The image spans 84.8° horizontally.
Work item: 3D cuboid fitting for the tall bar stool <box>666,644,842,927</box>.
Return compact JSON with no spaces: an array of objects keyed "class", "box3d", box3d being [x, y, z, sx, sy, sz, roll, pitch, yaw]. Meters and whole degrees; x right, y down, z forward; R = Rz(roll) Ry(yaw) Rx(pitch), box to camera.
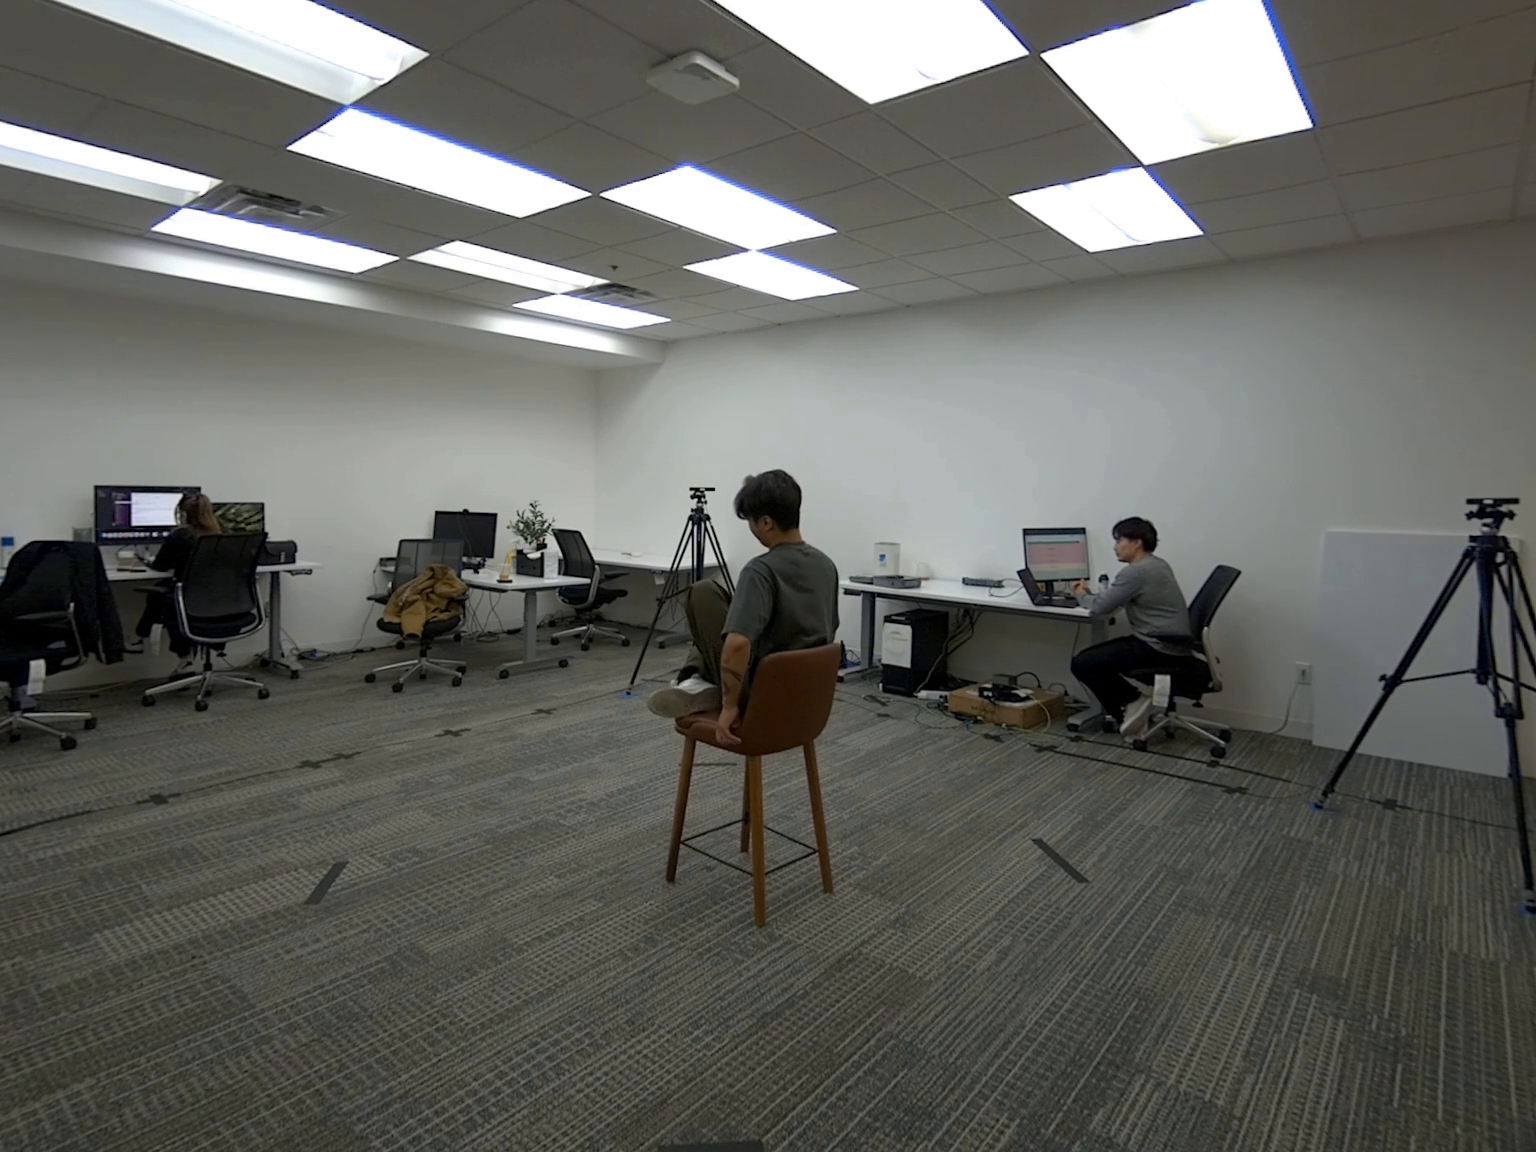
[{"class":"tall bar stool","box3d":[-0.053,0.650,2.955,0.484,0.886,0.442,8,7,44]}]
